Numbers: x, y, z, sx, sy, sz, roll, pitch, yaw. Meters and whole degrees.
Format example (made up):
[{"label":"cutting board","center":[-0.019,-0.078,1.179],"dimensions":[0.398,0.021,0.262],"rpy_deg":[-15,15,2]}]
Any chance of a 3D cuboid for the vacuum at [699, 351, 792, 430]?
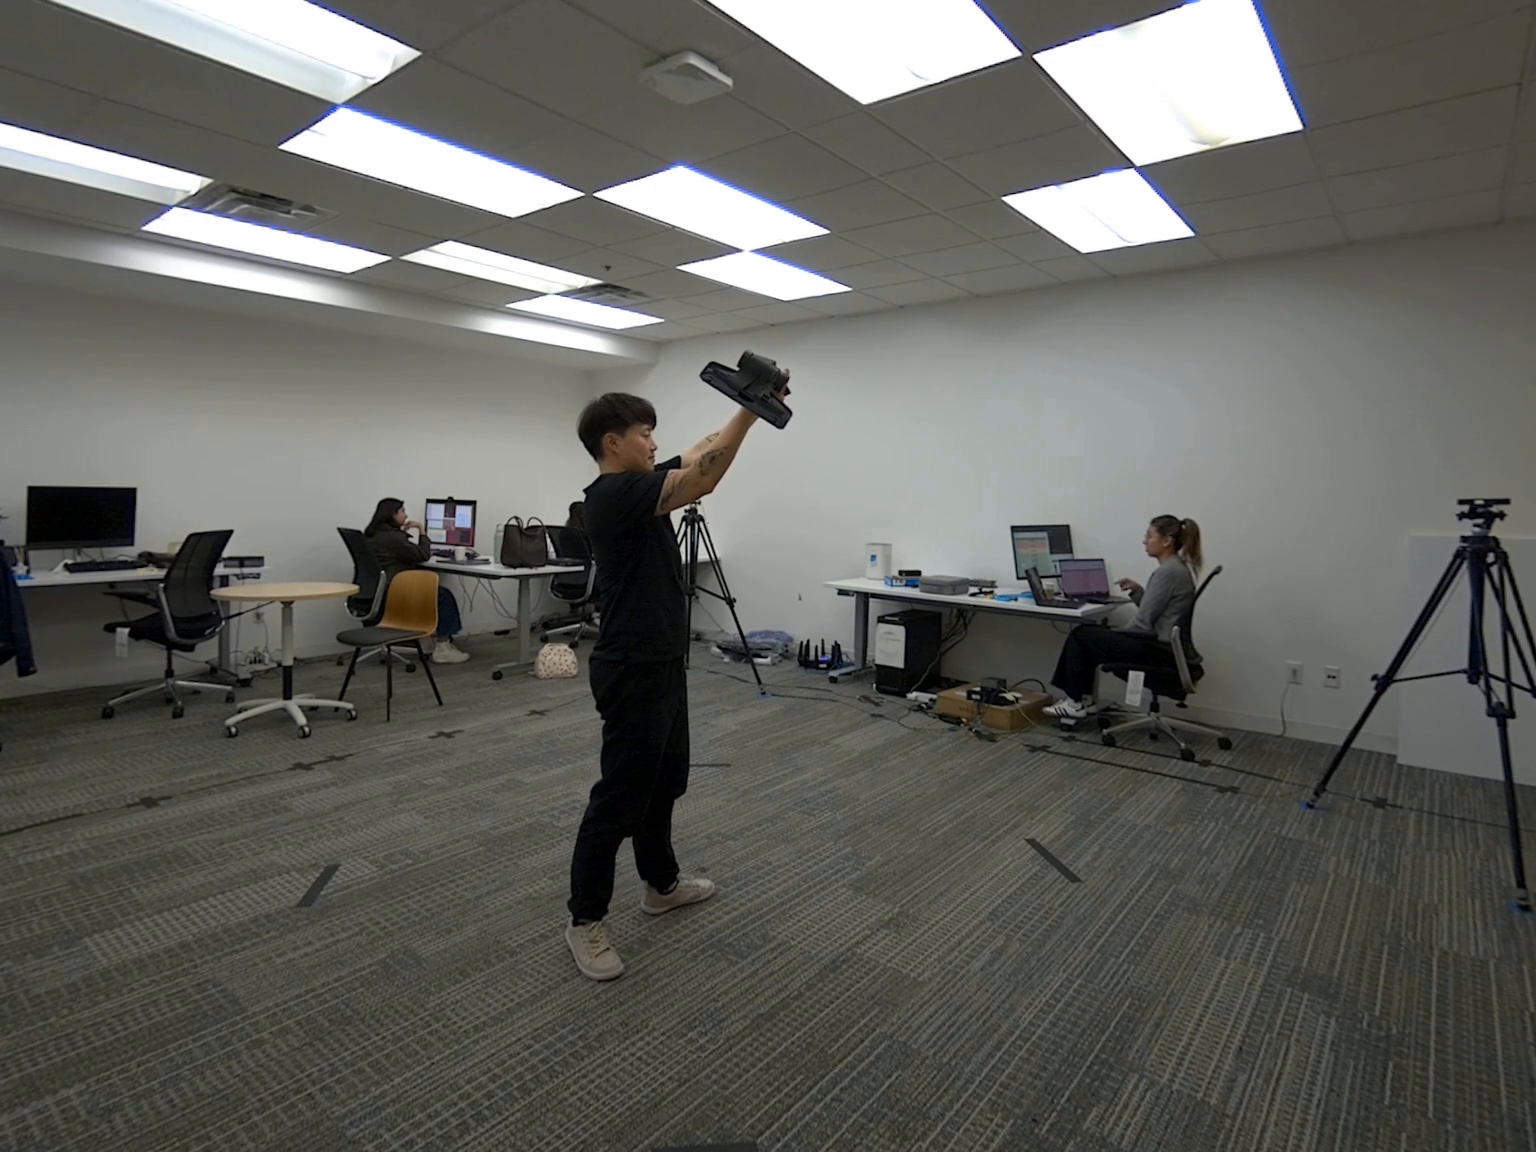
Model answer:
[{"label":"vacuum","center":[-0.010,-0.583,2.665],"dimensions":[0.253,0.143,1.052],"rpy_deg":[29,12,-2]}]
